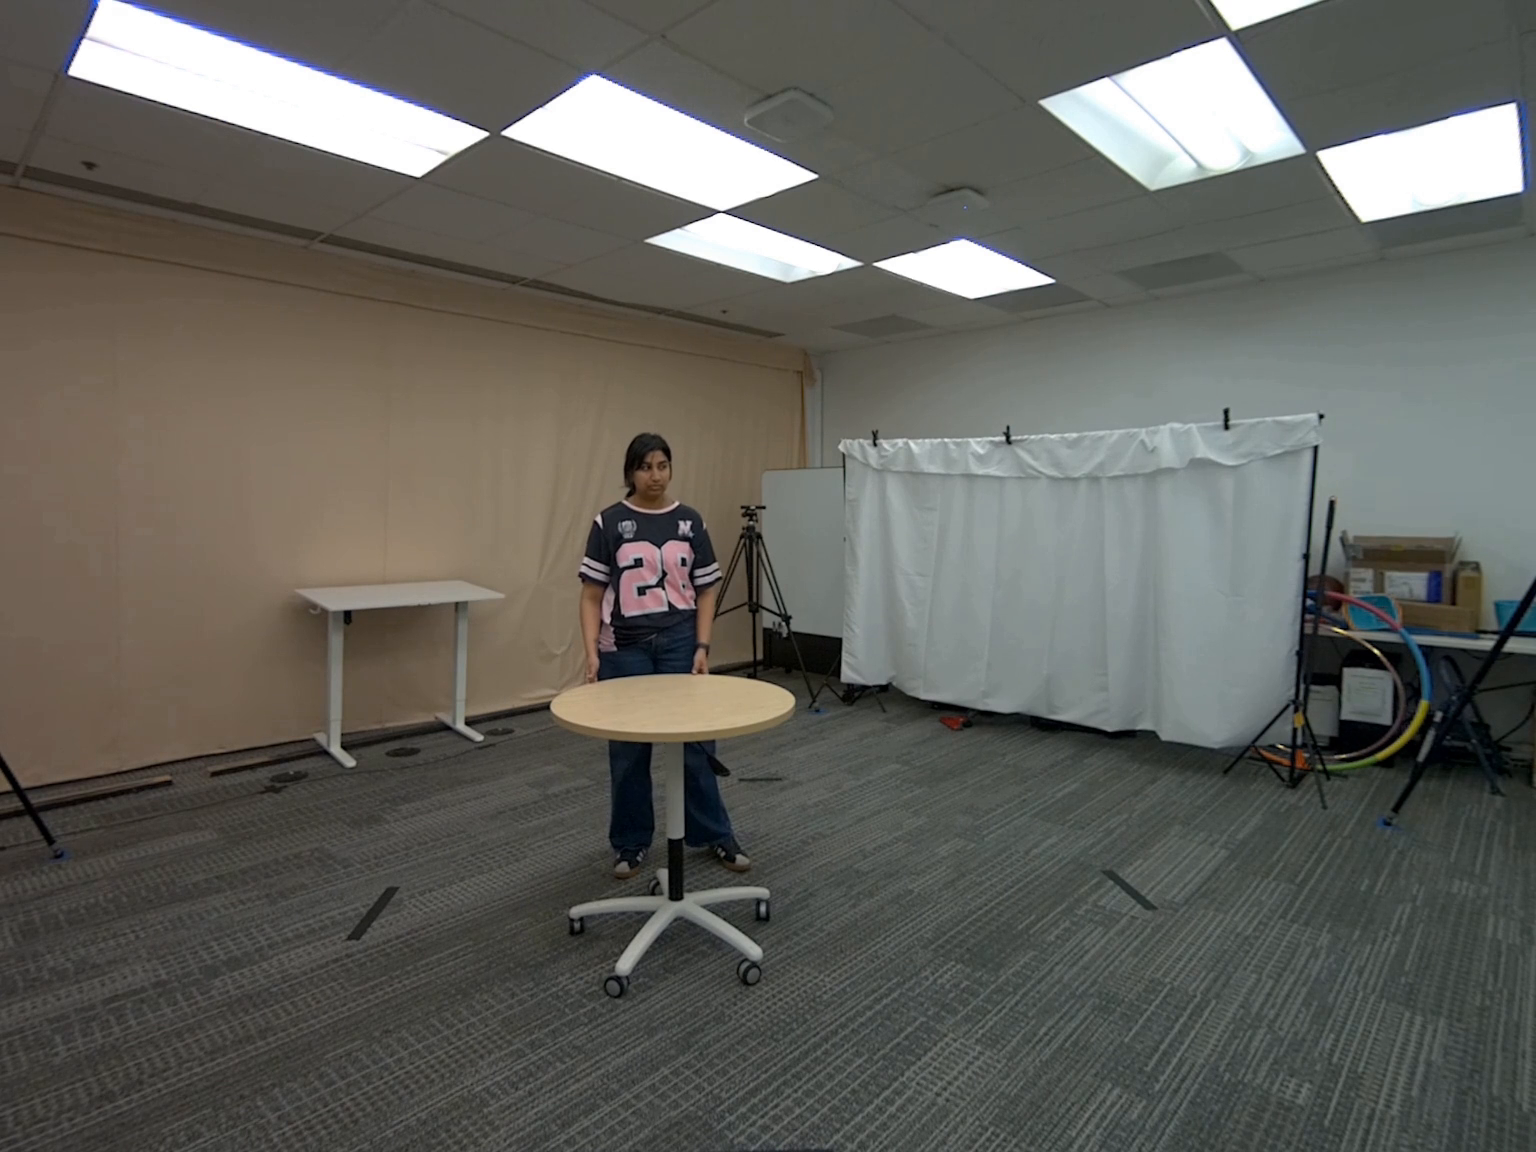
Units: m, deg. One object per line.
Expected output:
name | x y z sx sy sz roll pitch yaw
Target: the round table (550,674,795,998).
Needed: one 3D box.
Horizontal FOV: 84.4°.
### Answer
round table | -0.288 0.782 2.678 0.763 0.792 0.767 -1 4 -2
